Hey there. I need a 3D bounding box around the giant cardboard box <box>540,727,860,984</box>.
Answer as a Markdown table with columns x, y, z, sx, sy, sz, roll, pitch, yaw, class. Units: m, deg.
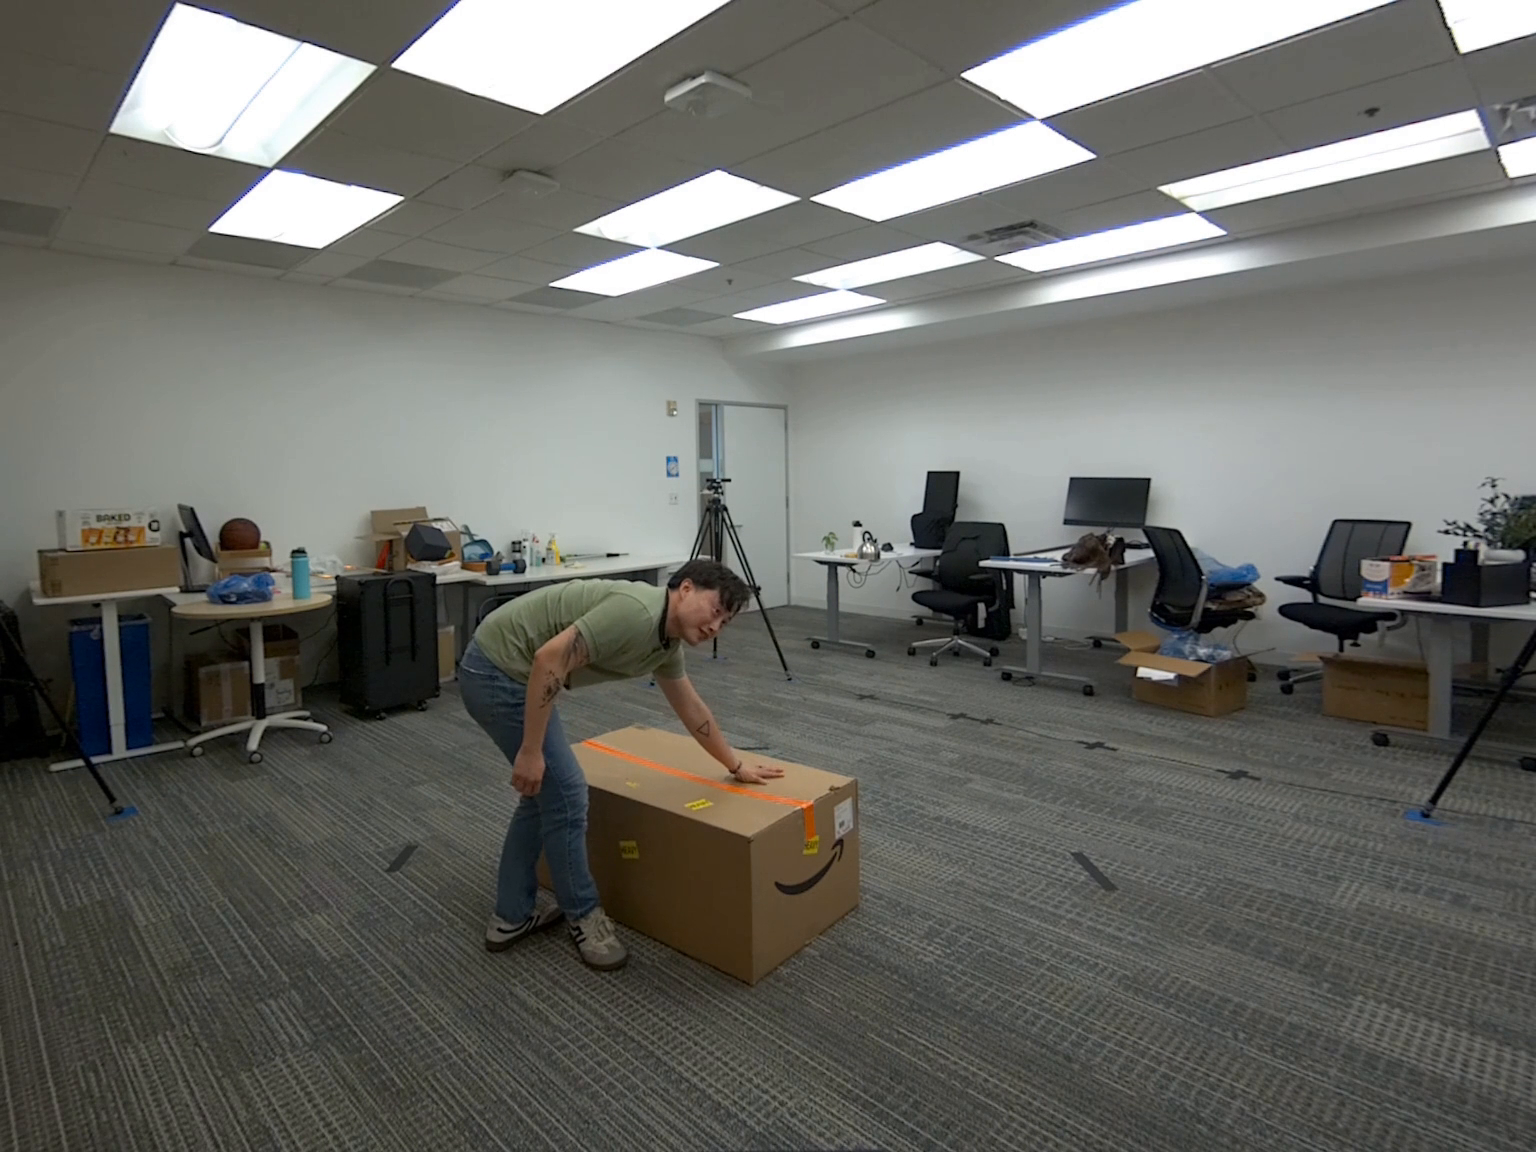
| x | y | z | sx | sy | sz | roll | pitch | yaw | class |
| --- | --- | --- | --- | --- | --- | --- | --- | --- | --- |
| -0.279 | 0.863 | 2.892 | 1.057 | 0.424 | 0.563 | 4 | 8 | 39 | giant cardboard box |
